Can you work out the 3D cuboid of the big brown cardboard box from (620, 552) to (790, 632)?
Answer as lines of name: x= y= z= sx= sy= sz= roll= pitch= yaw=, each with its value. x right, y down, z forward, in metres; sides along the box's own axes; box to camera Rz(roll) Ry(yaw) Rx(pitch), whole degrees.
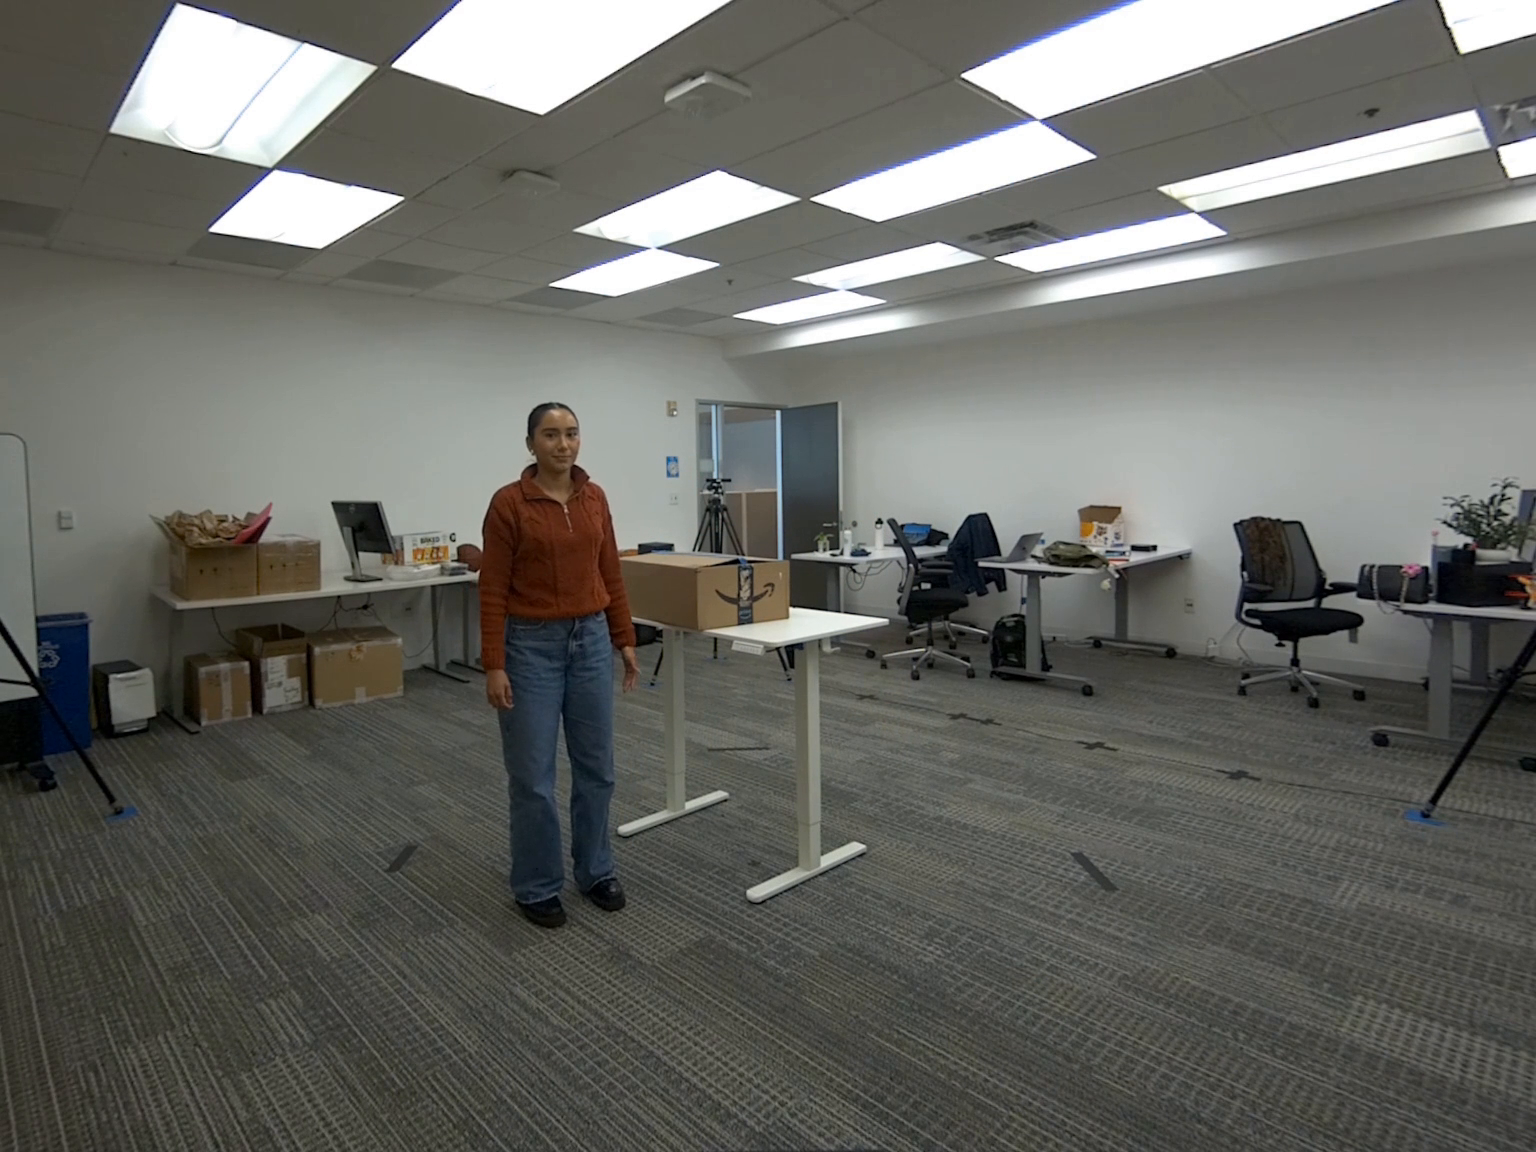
big brown cardboard box: x=-0.259 y=0.043 z=3.228 sx=0.407 sy=0.232 sz=0.607 roll=-5 pitch=6 yaw=-39
